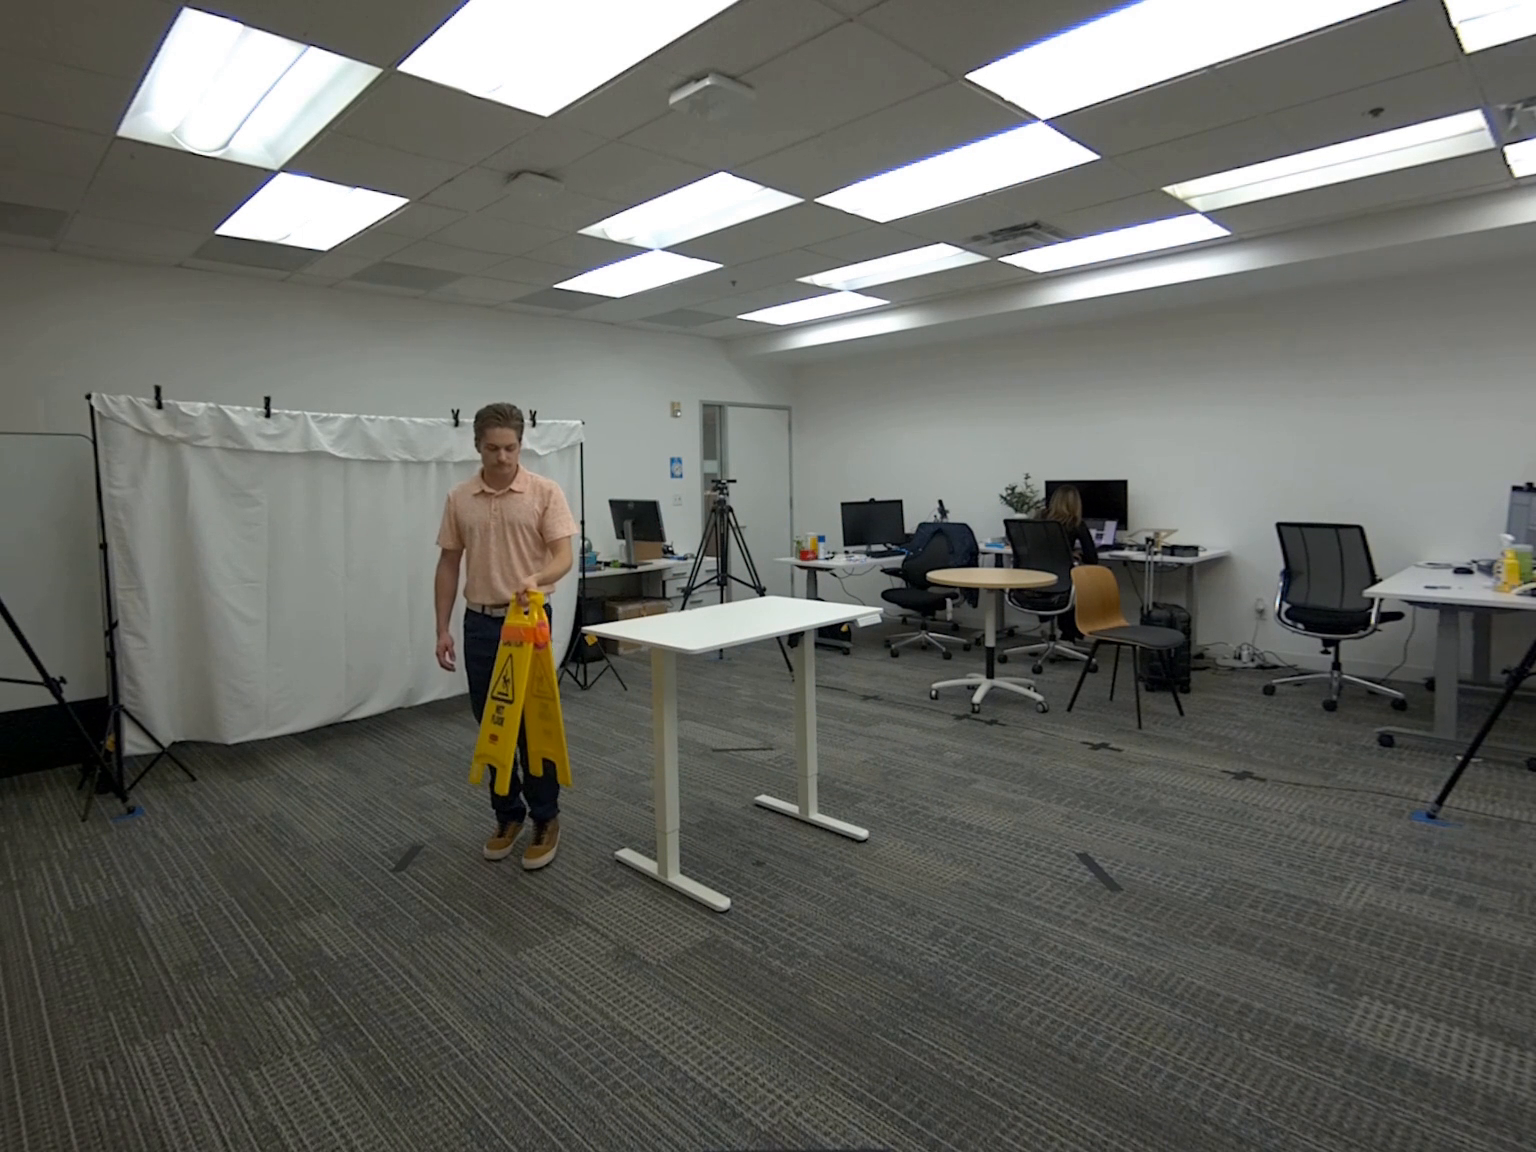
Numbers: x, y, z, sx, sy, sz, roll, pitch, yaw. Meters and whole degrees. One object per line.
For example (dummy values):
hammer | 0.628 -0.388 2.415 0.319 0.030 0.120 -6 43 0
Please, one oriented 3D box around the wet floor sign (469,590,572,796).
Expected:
wet floor sign | -0.824 0.380 2.898 0.281 0.649 0.289 3 -5 -39
